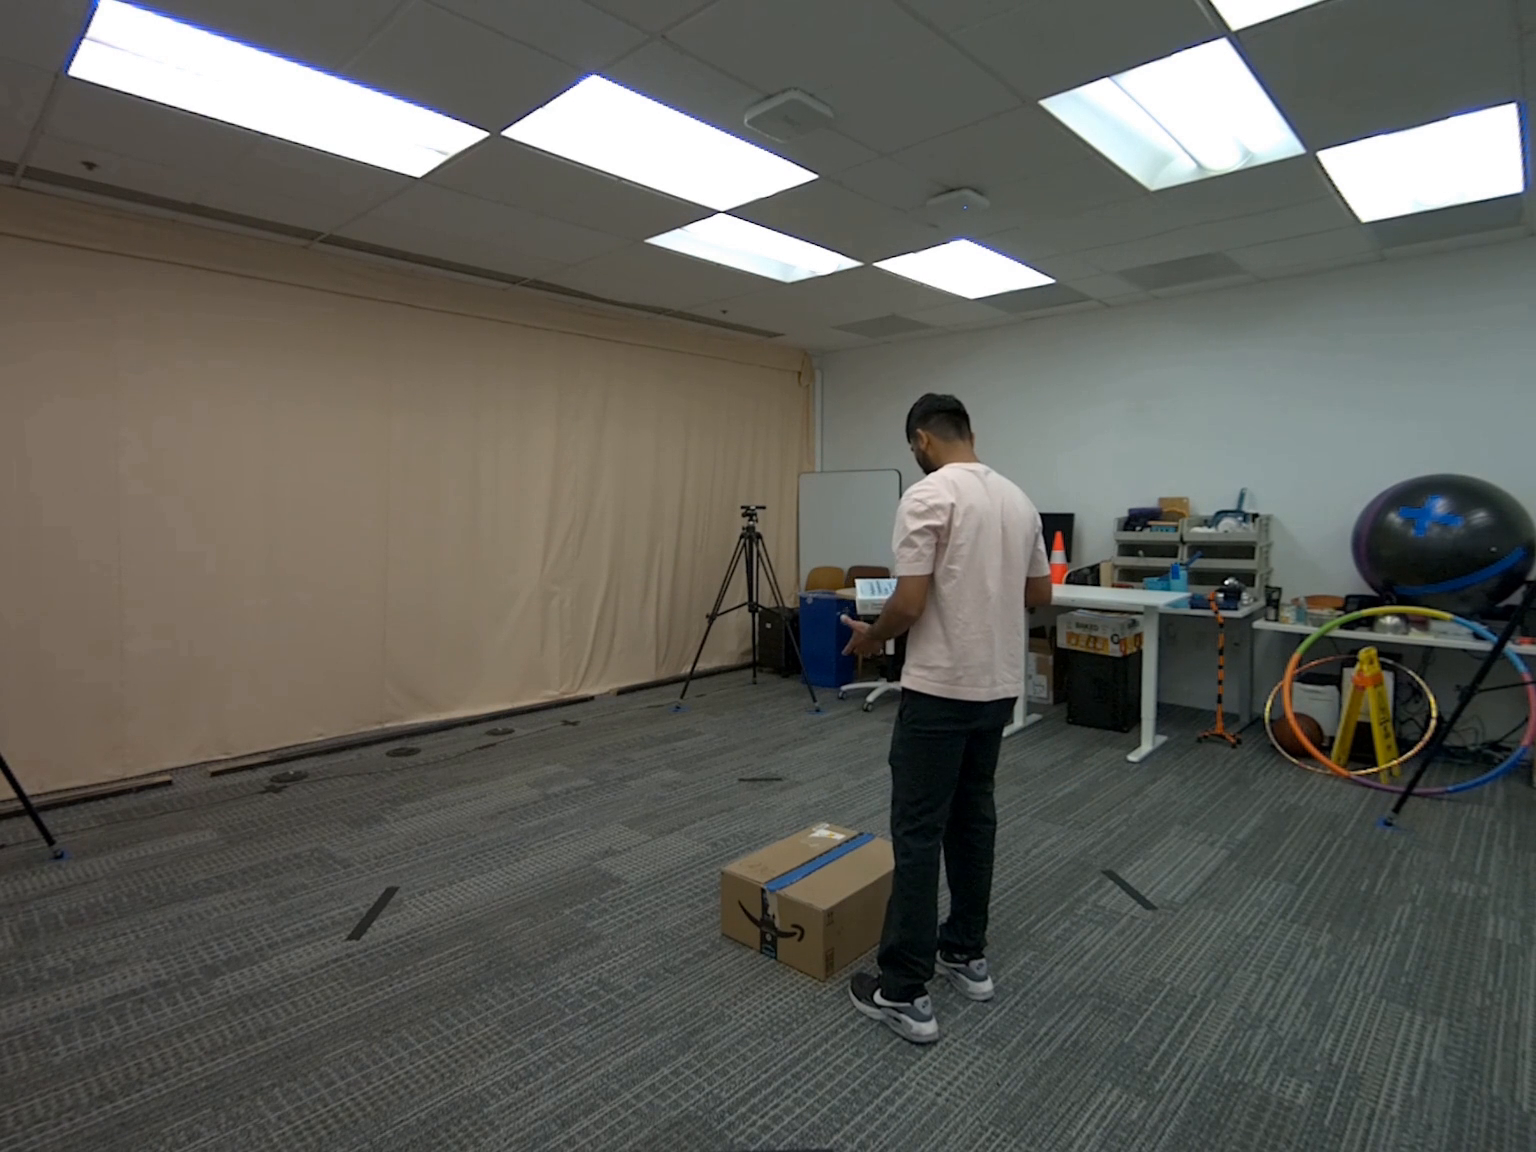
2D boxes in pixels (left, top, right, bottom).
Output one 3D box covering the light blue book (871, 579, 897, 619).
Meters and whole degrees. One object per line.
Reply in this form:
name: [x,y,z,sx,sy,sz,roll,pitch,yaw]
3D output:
light blue book: [0.436,0.073,2.691,0.192,0.058,0.262,-2,16,4]
